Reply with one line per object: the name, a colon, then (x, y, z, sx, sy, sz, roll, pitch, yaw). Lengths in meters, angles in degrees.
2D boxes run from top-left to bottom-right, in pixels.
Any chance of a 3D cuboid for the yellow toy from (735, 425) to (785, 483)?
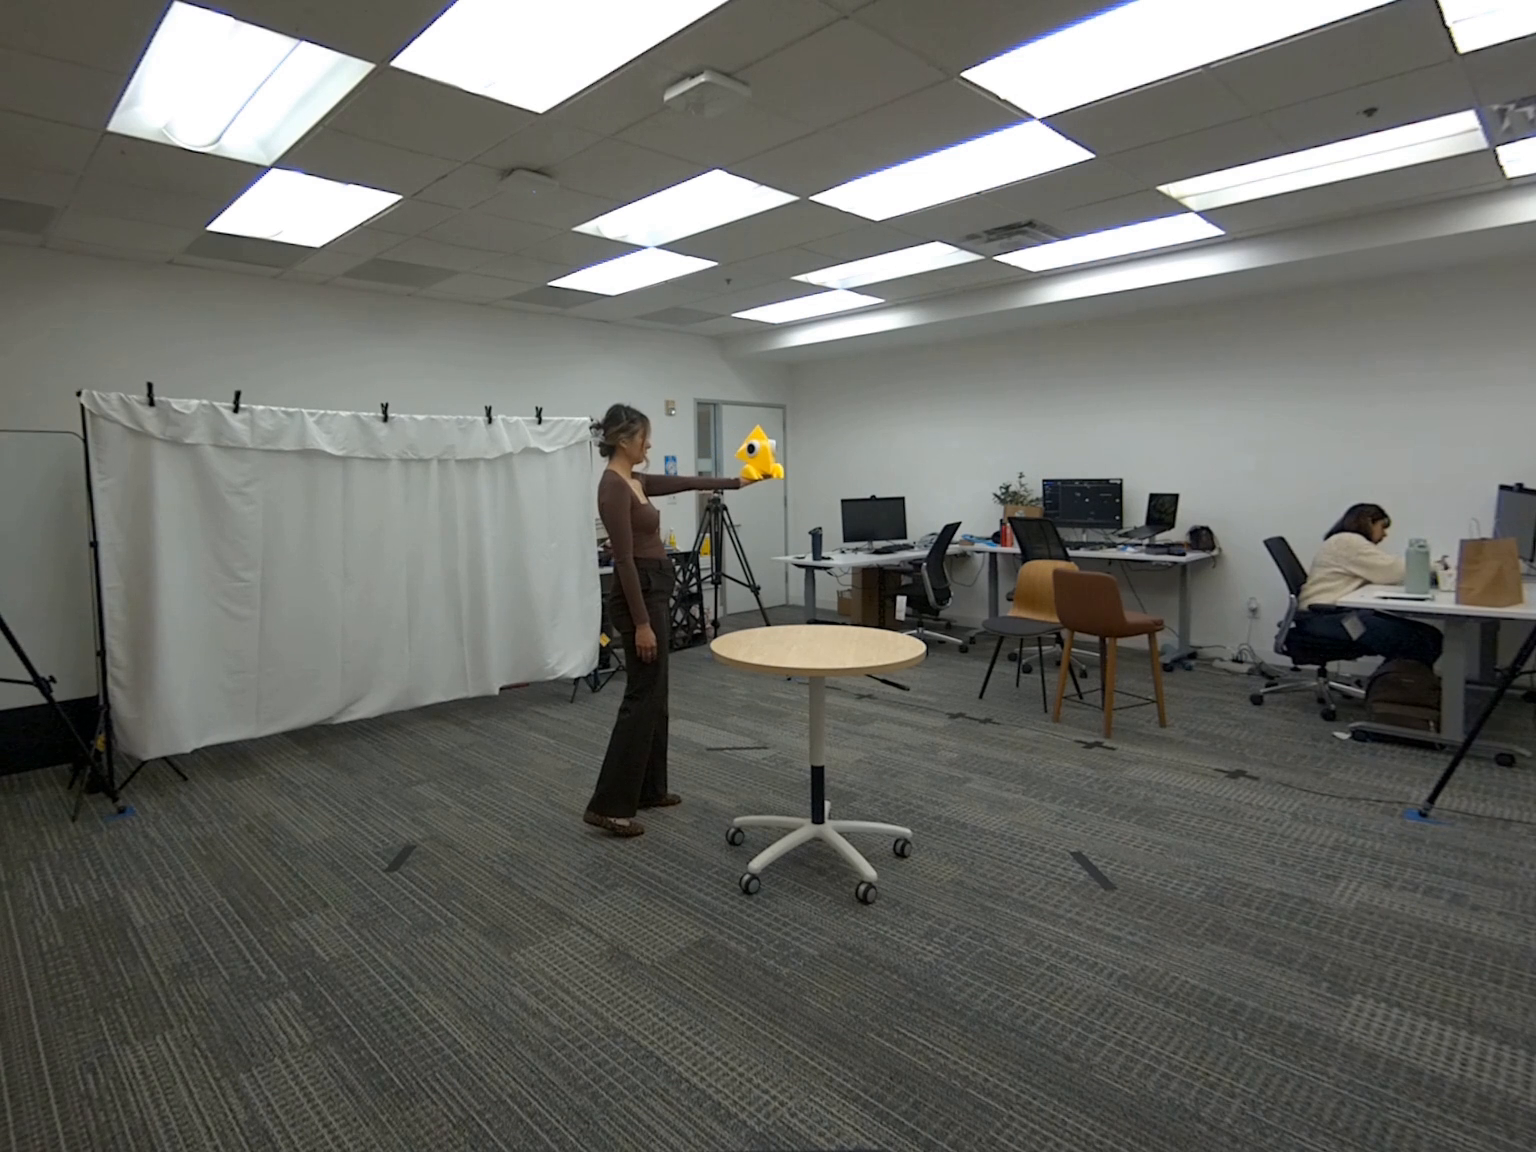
yellow toy: (-0.024, -0.580, 3.972, 0.200, 0.228, 0.199, -3, 15, -25)
